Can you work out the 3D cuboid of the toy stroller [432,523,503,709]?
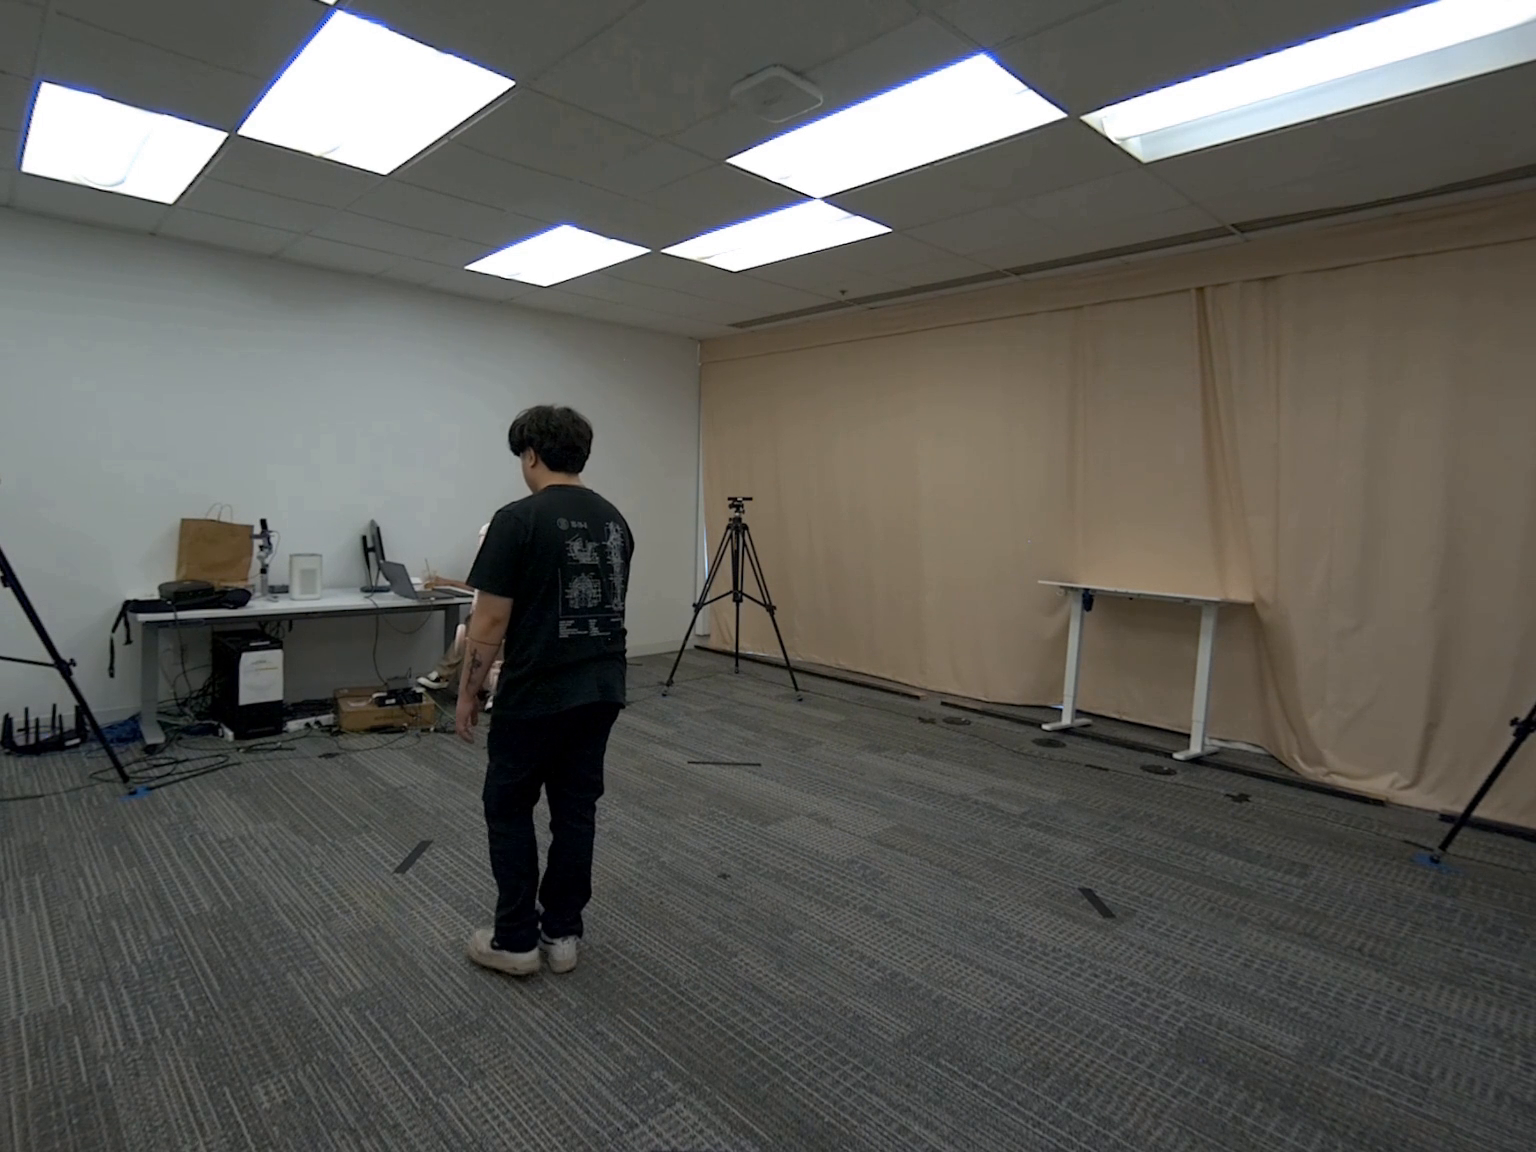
[{"bbox_3d":[-0.910,0.101,2.859,0.278,0.533,0.347,7,4,-16],"label":"toy stroller"}]
